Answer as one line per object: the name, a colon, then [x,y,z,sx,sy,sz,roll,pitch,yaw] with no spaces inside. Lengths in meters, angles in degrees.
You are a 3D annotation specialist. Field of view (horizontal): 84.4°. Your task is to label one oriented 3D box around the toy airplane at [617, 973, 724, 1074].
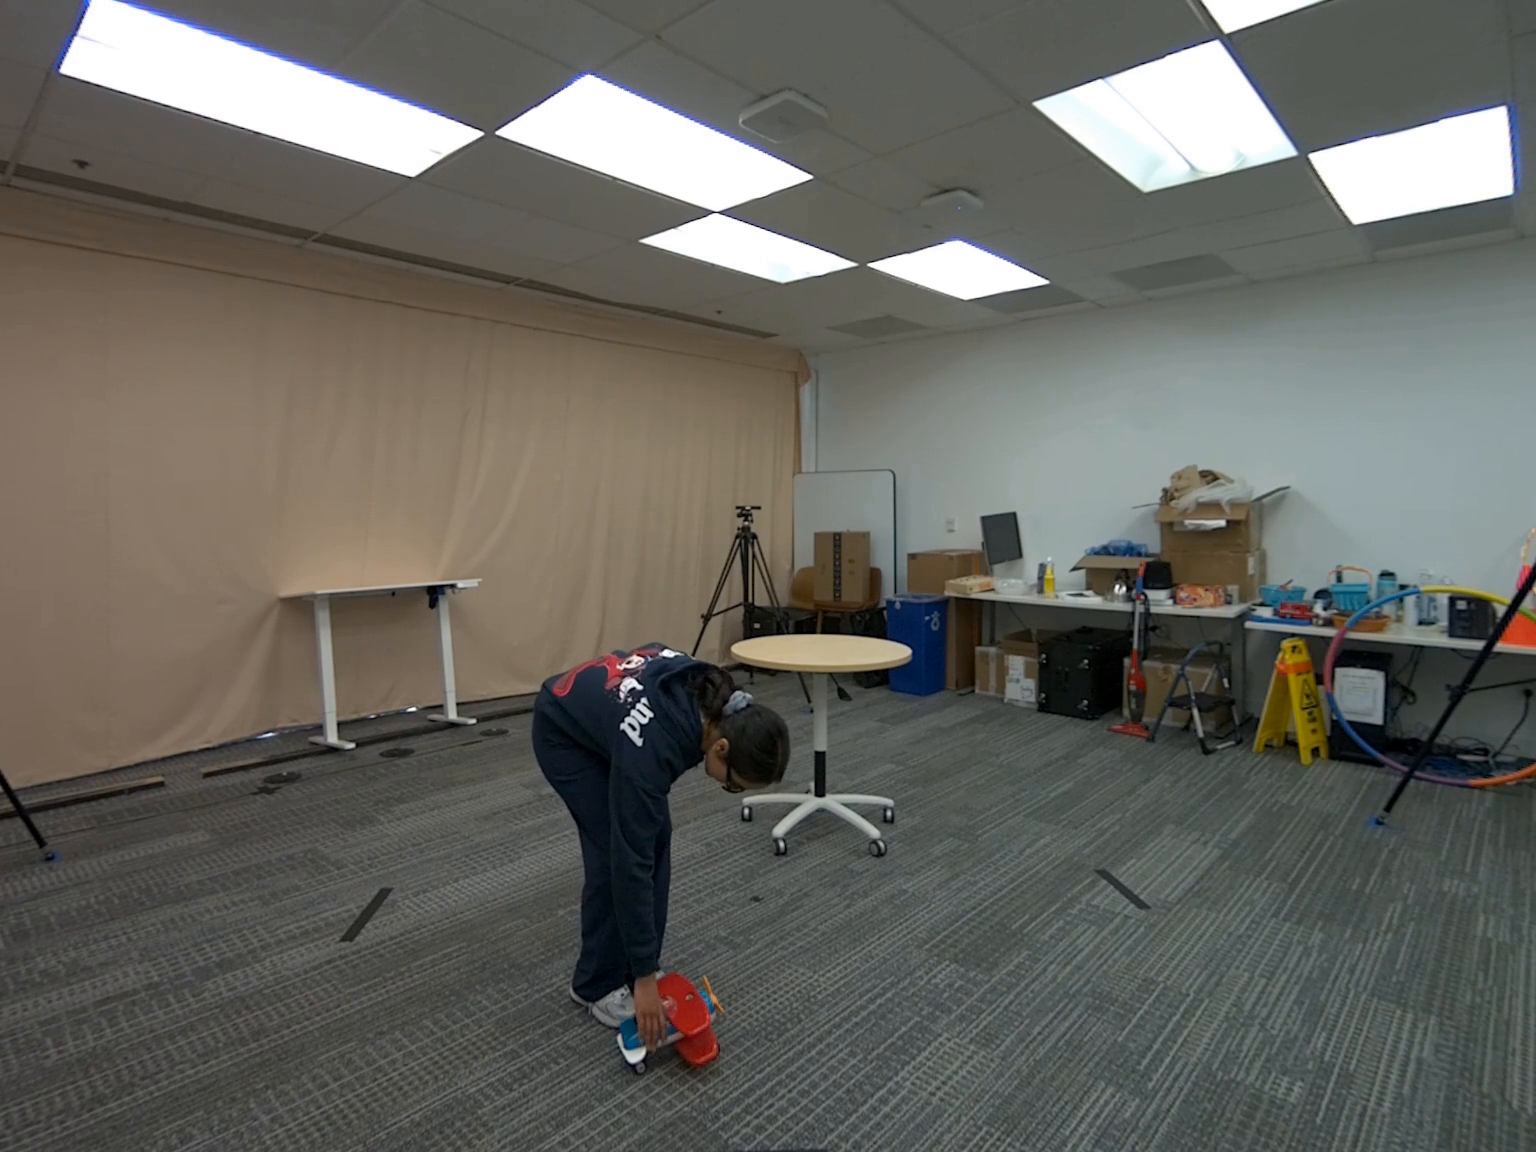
toy airplane: [-0.217,1.152,2.100,0.259,0.156,0.251,3,5,39]
